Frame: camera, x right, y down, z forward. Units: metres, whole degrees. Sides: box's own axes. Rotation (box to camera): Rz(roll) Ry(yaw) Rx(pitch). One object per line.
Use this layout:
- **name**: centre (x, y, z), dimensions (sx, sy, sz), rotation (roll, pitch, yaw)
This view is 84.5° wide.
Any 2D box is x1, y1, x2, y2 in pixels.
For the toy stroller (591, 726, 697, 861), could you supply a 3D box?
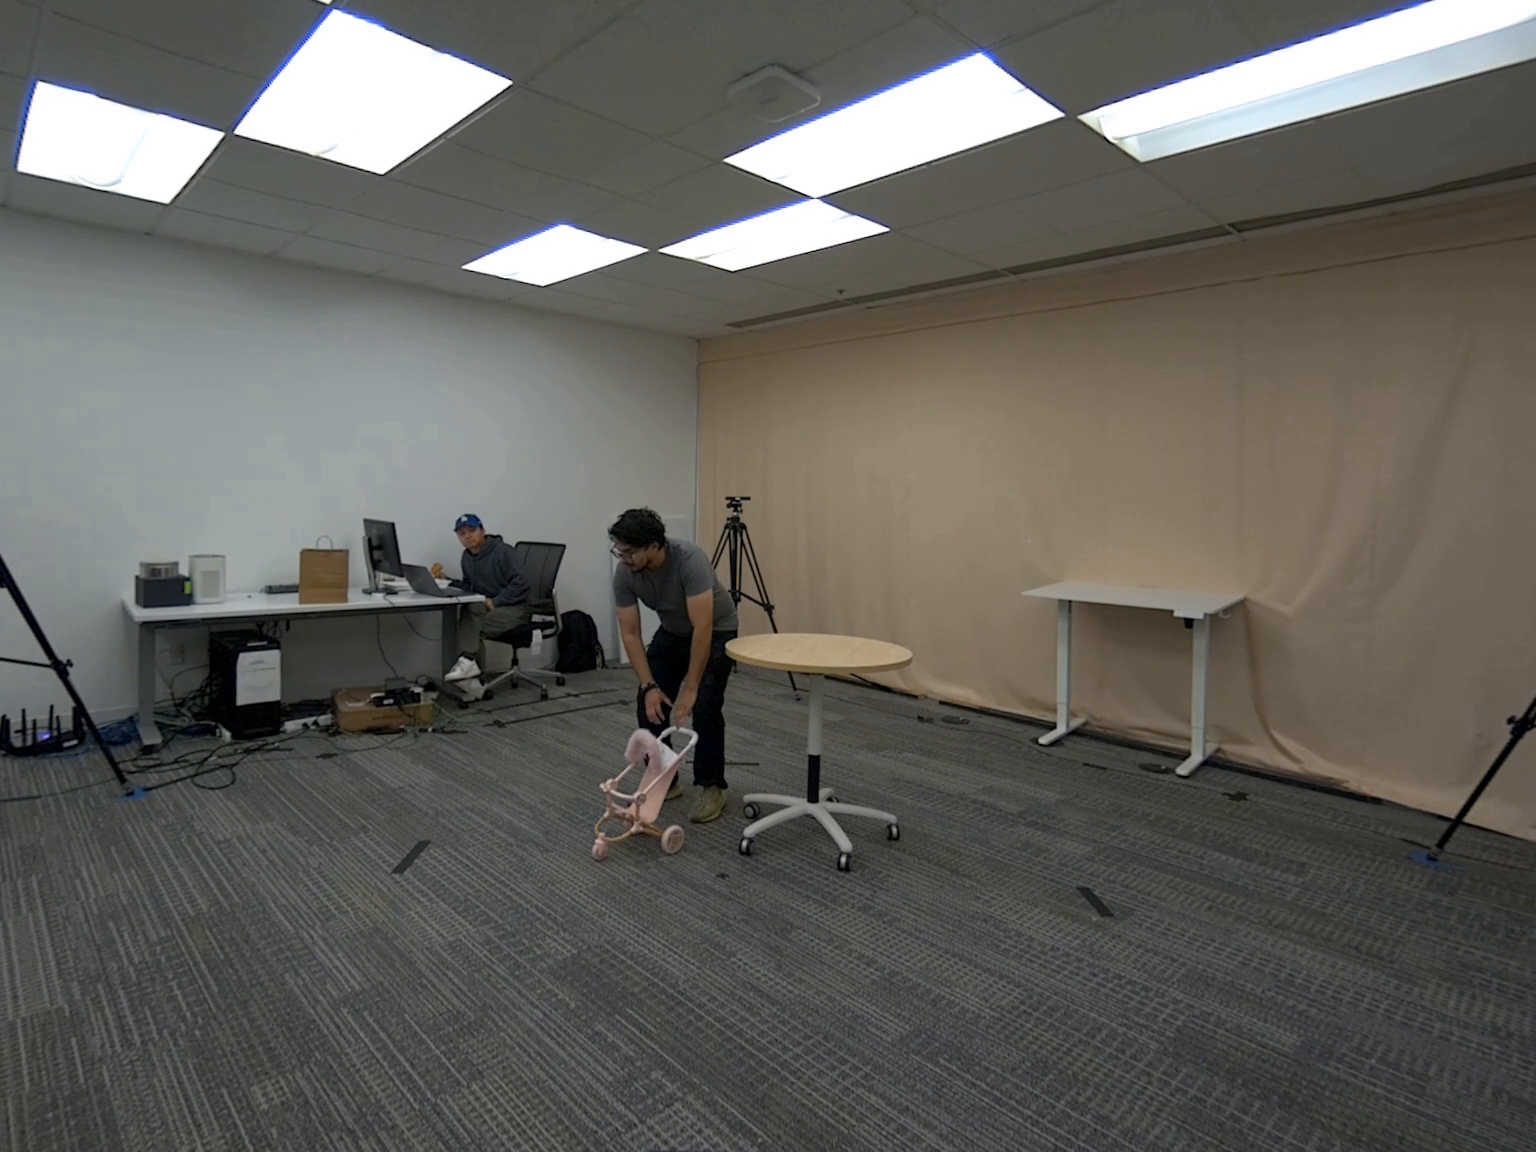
- **toy stroller**: centre (-0.513, 0.856, 3.326), dimensions (0.332, 0.537, 0.288), rotation (18, -8, -38)
